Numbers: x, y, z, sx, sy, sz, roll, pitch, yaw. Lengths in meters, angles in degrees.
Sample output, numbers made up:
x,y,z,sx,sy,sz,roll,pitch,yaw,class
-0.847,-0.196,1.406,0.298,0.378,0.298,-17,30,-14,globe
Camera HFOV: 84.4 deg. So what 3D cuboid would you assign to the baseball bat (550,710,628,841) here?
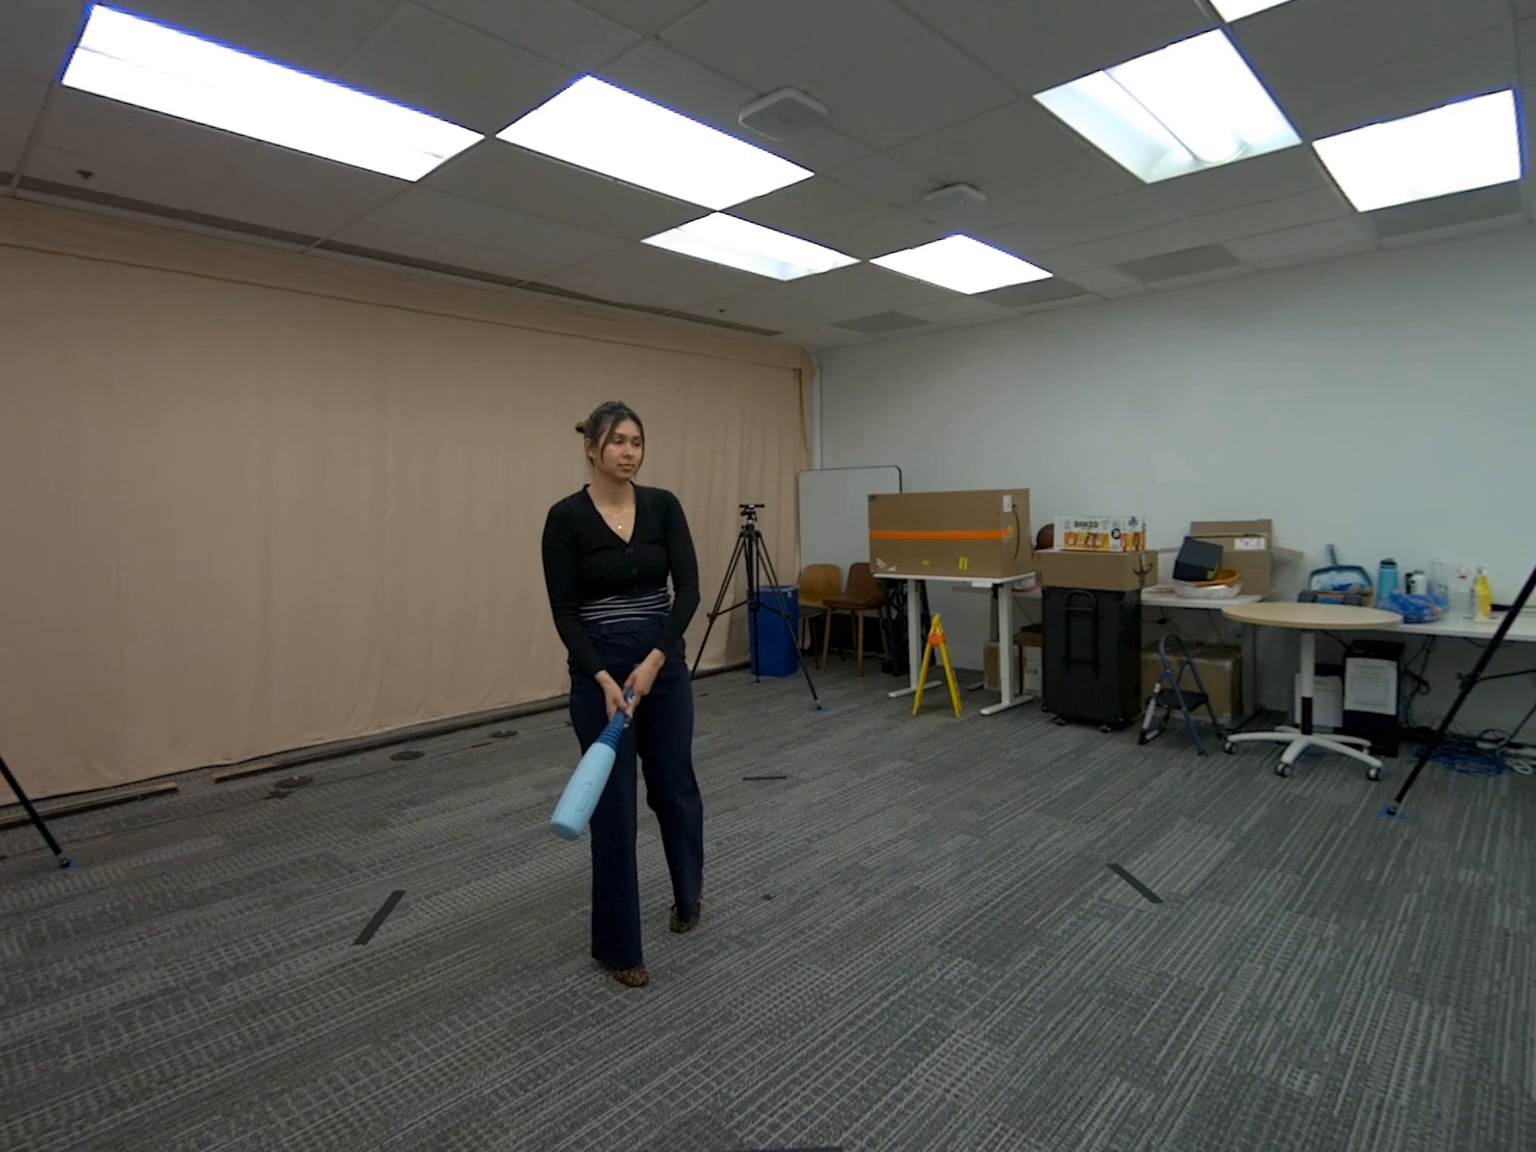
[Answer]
x,y,z,sx,sy,sz,roll,pitch,yaw,class
-0.433,0.425,2.242,0.091,0.086,0.545,0,42,23,baseball bat
